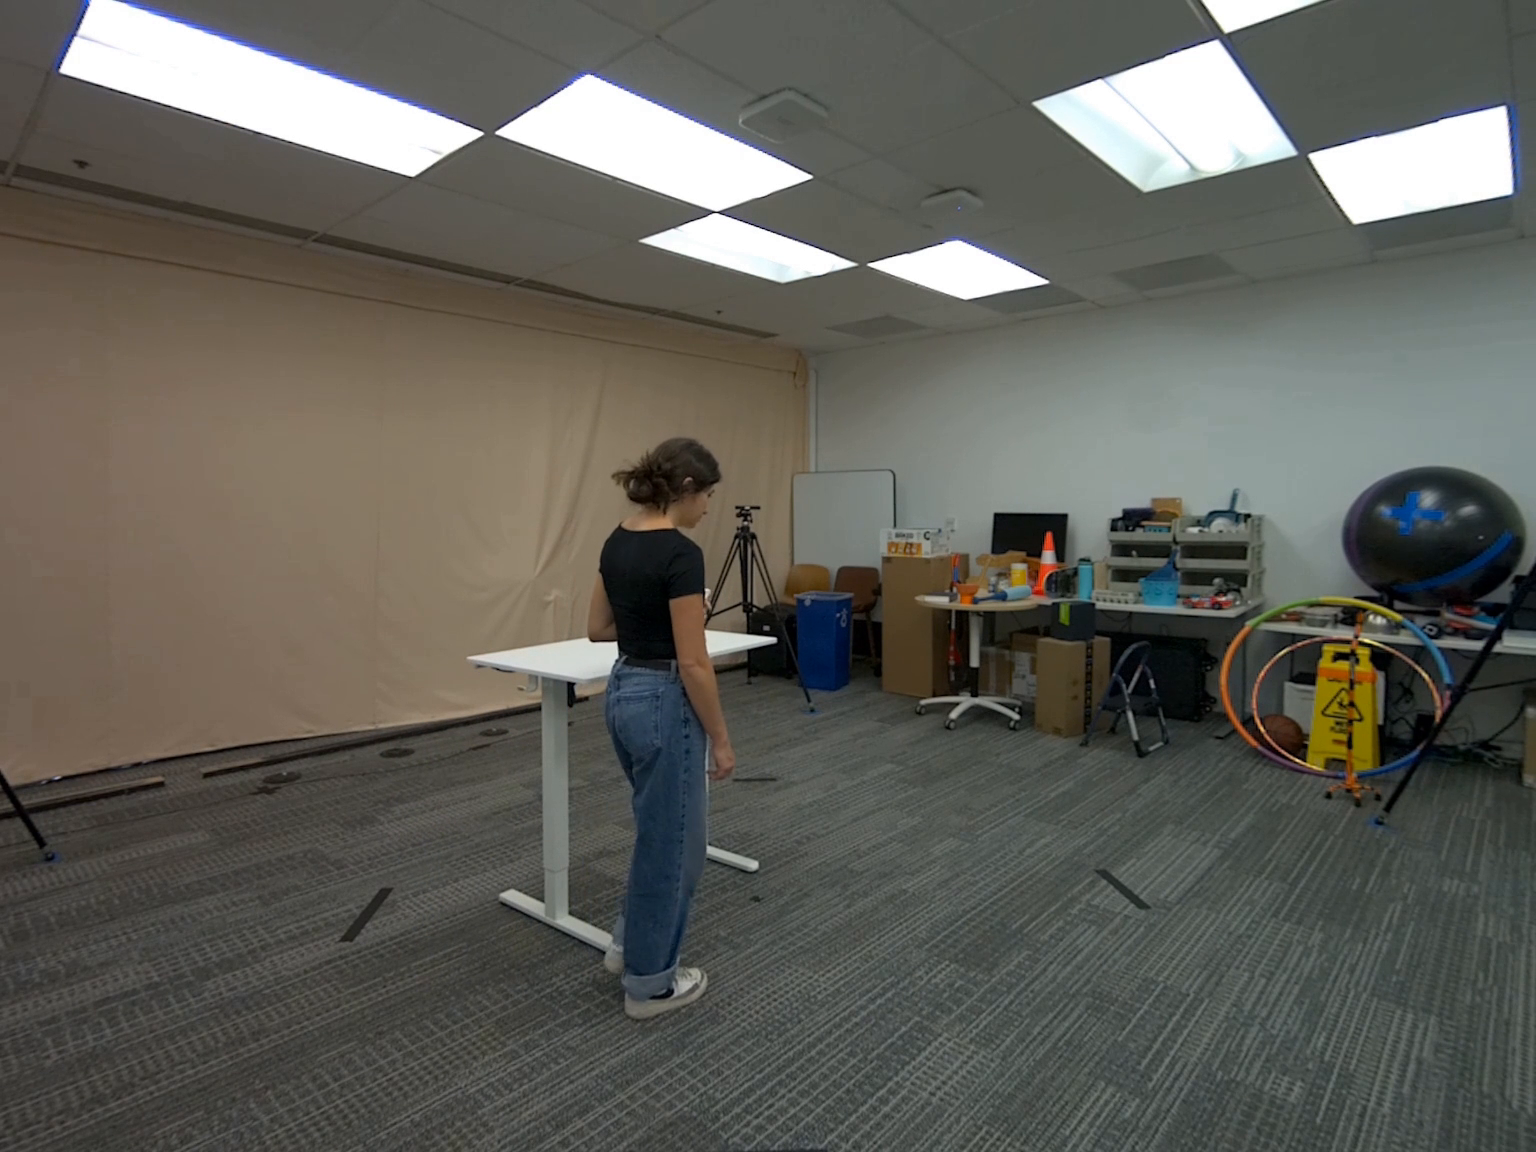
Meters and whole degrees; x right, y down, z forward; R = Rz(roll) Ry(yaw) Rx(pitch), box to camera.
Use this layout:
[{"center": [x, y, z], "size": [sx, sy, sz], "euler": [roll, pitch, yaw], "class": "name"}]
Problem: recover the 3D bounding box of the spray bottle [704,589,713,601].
[{"center": [-0.226, 0.187, 2.438], "size": [0.087, 0.296, 0.090], "euler": [6, 7, -28], "class": "spray bottle"}]
